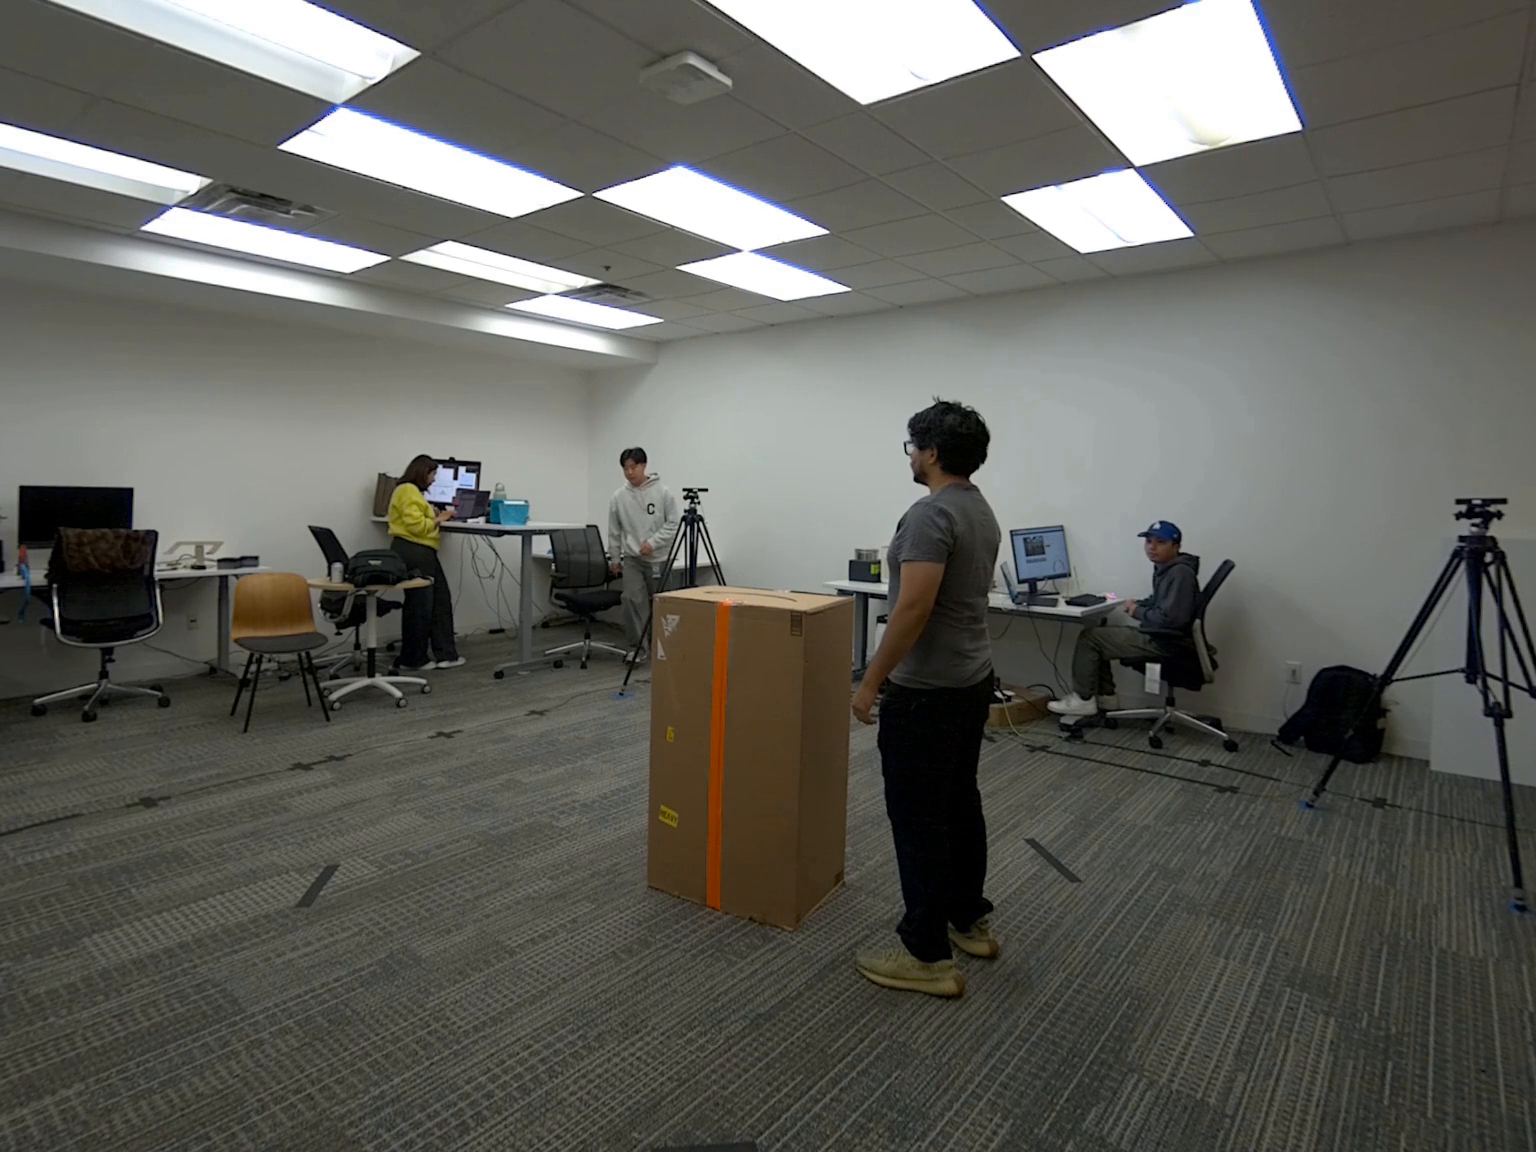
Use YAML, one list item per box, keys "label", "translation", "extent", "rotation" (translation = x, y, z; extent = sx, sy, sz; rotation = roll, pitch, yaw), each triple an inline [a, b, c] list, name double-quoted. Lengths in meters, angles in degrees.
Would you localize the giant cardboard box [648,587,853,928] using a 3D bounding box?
- label: "giant cardboard box"
  translation: [-0.070, 0.580, 2.973]
  extent: [0.601, 1.025, 0.435]
  rotation: [3, 3, 29]
